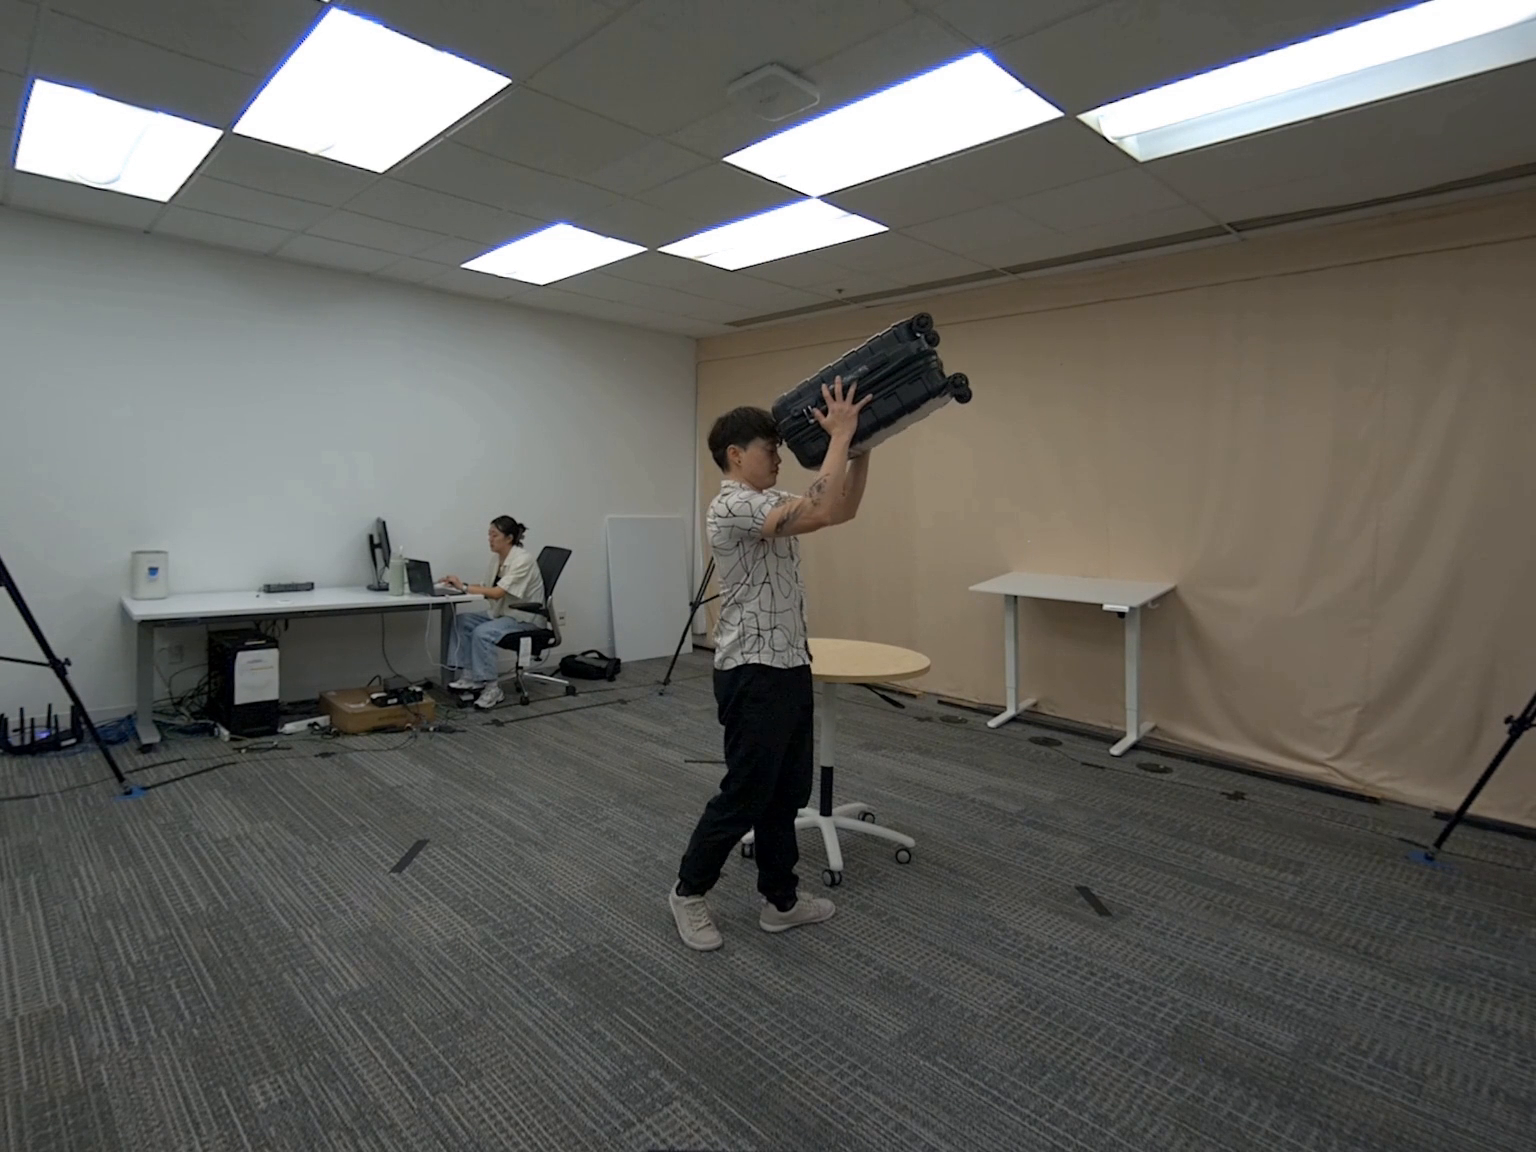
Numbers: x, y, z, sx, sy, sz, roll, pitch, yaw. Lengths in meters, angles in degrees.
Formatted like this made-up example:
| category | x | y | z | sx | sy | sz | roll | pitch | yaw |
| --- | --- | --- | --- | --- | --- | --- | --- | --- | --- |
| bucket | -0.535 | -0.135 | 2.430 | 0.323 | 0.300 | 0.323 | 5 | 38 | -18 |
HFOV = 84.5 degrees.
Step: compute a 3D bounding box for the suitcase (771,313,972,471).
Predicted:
| category | x | y | z | sx | sy | sz | roll | pitch | yaw |
| --- | --- | --- | --- | --- | --- | --- | --- | --- | --- |
| suitcase | 0.303 | -0.533 | 2.560 | 0.552 | 0.249 | 0.372 | -29 | -2 | 18 |
